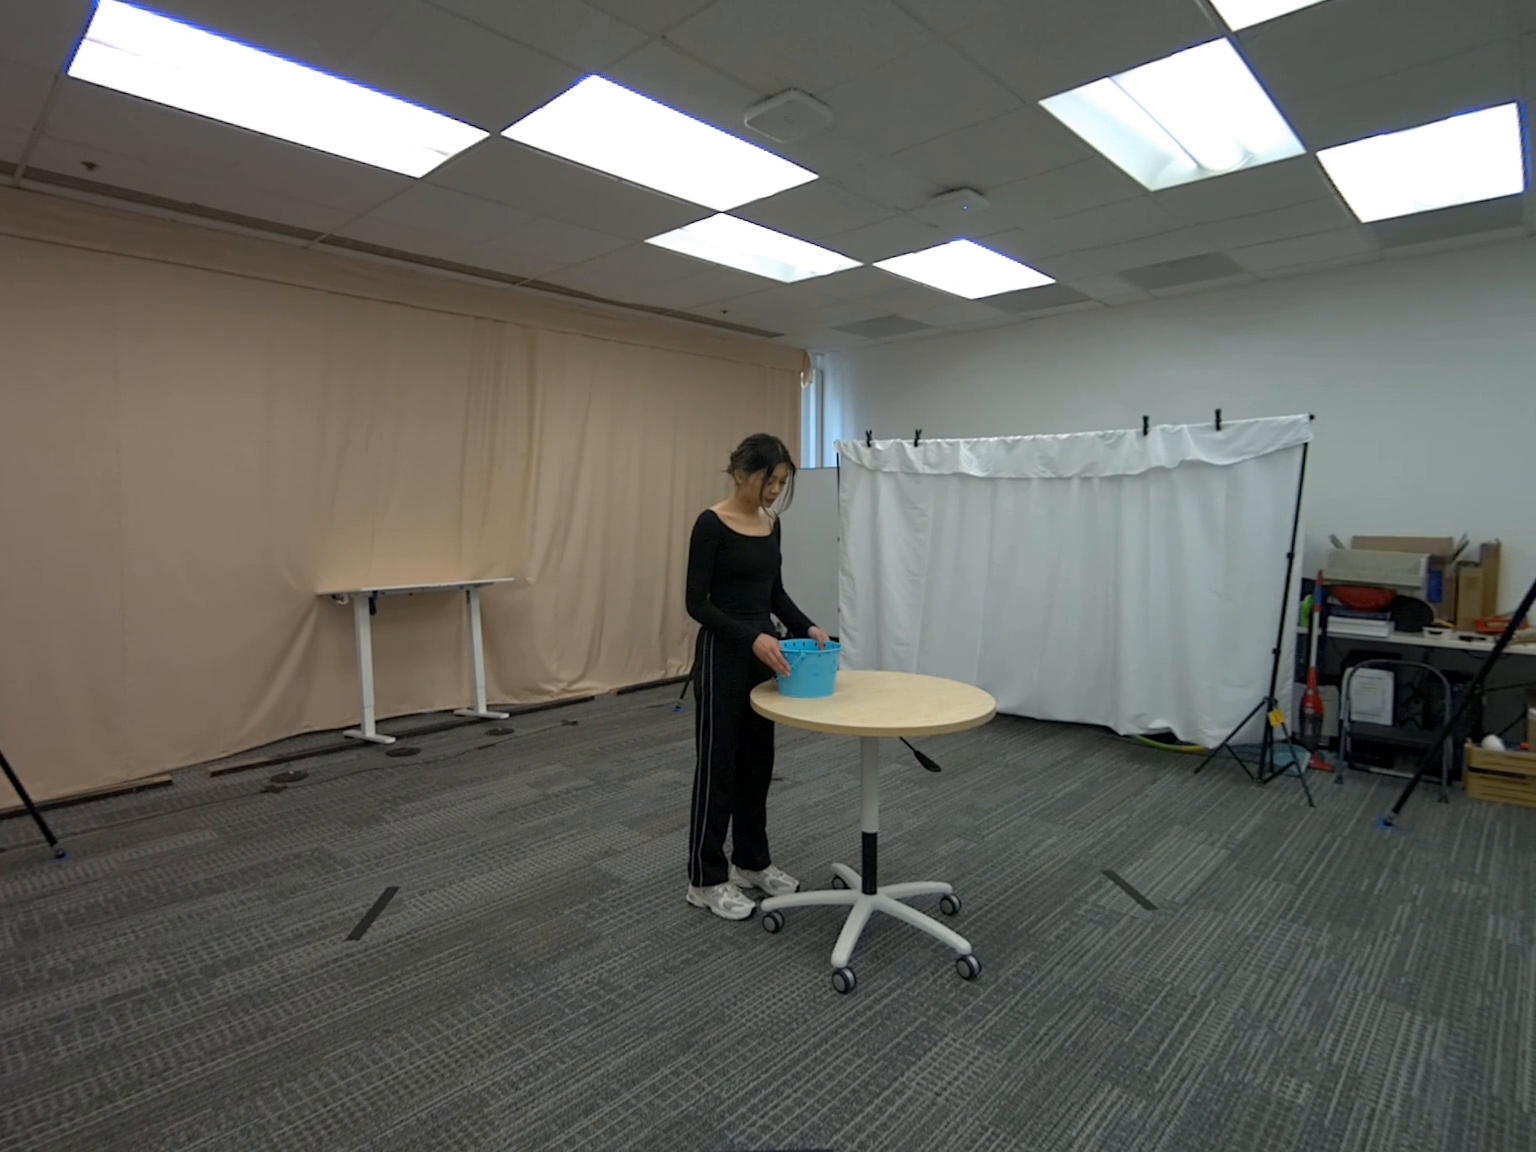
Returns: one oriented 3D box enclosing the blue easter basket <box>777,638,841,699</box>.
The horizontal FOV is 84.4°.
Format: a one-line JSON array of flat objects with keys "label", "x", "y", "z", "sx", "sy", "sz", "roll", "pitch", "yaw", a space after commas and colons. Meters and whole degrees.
[{"label": "blue easter basket", "x": 0.118, "y": 0.304, "z": 2.742, "sx": 0.243, "sy": 0.155, "sz": 0.244, "roll": 0, "pitch": 3, "yaw": -2}]
